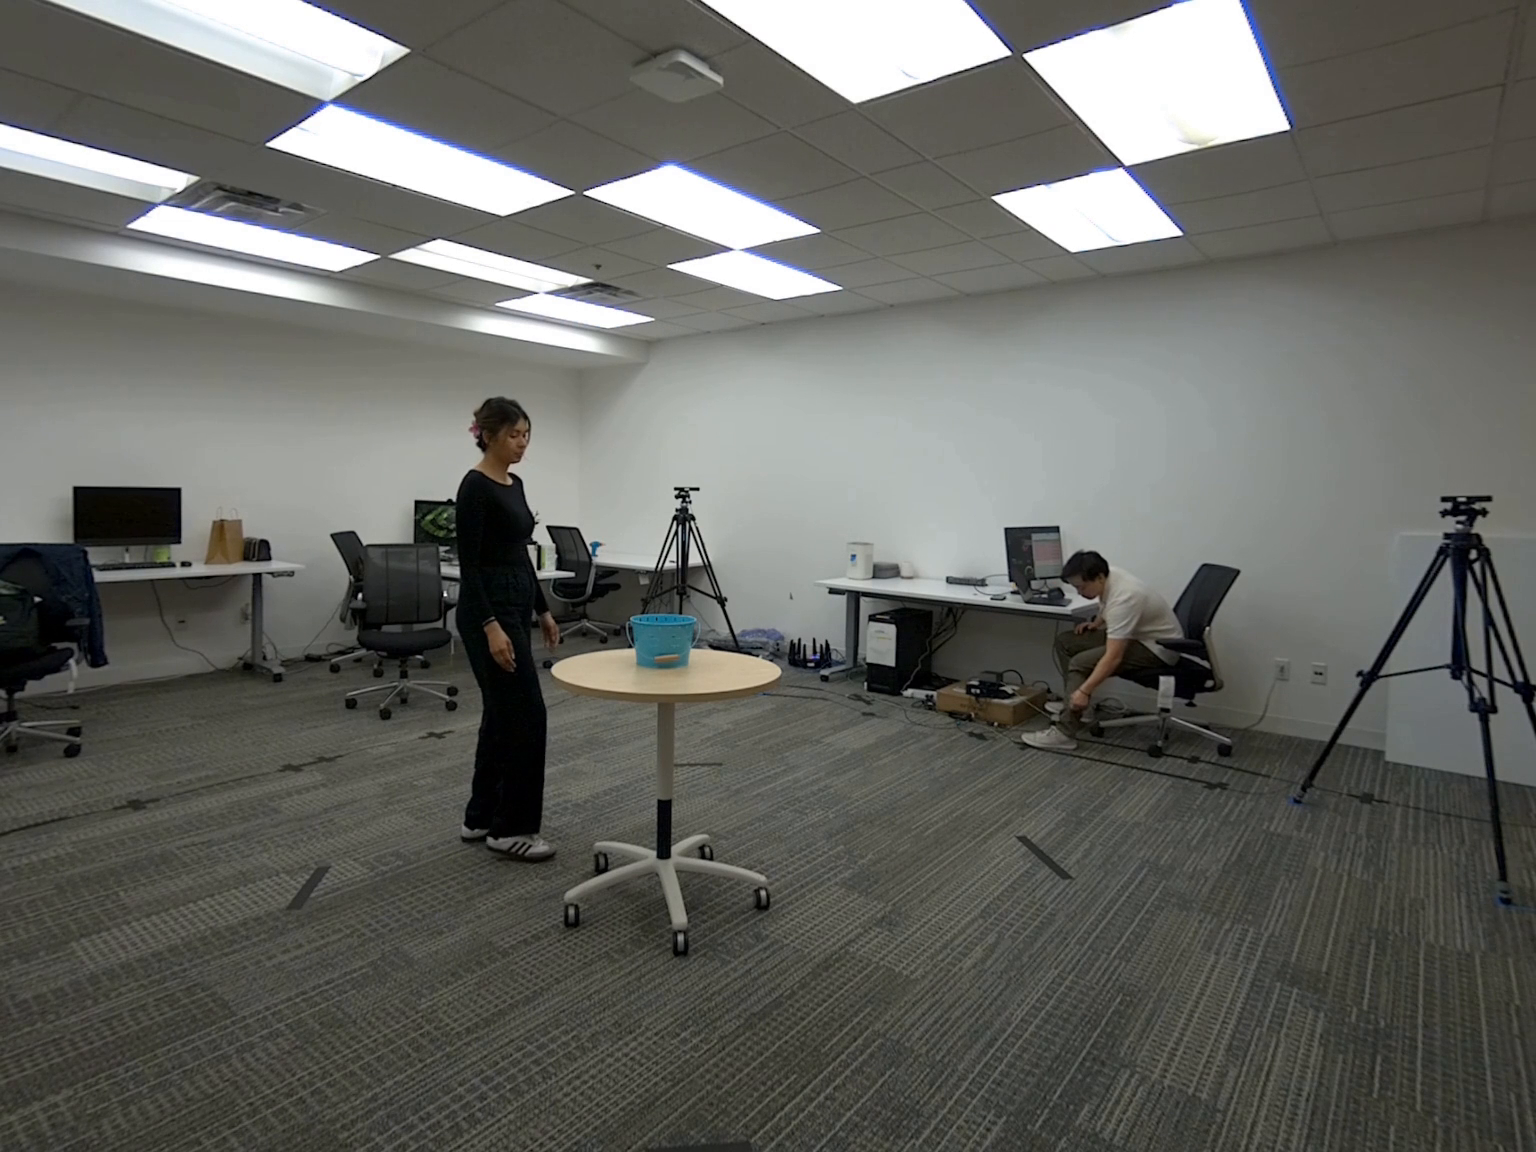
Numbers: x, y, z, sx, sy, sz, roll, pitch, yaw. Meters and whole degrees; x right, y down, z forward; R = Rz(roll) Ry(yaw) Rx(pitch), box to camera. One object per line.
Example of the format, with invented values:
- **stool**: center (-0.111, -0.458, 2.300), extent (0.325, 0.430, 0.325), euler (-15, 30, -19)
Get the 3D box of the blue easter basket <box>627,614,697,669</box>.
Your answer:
- **blue easter basket**: center (-0.376, 0.226, 2.925), extent (0.243, 0.155, 0.245), euler (0, 4, -2)
